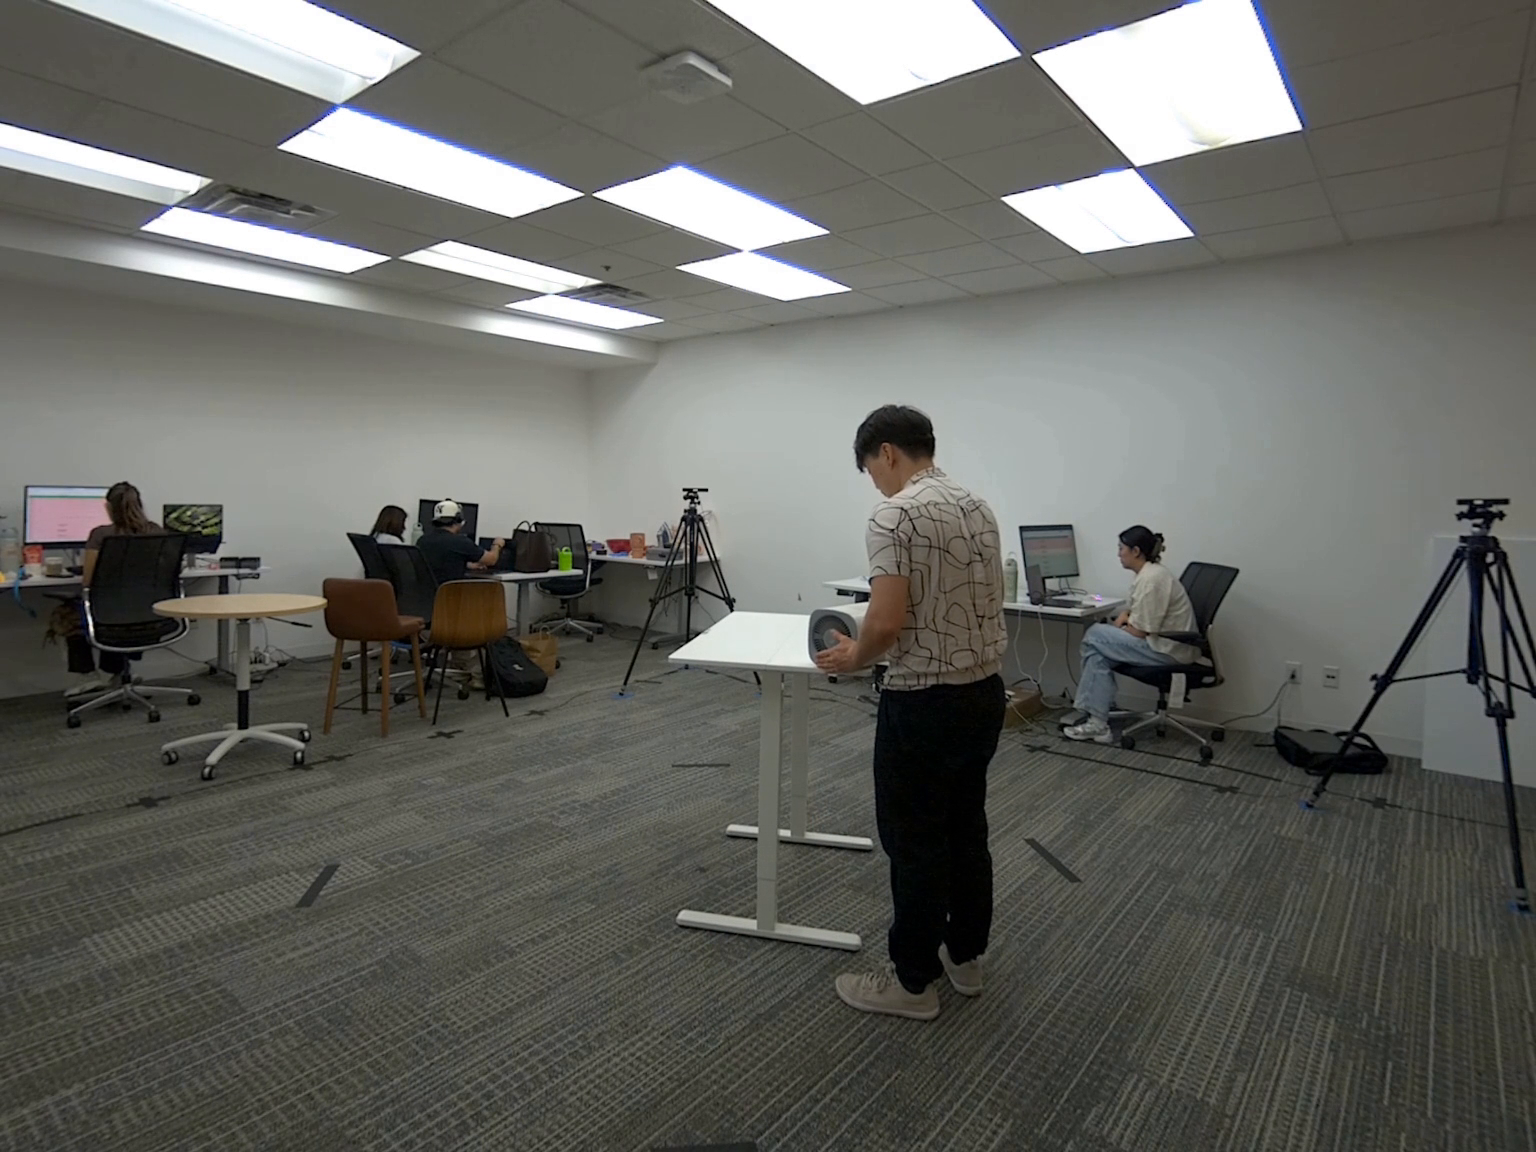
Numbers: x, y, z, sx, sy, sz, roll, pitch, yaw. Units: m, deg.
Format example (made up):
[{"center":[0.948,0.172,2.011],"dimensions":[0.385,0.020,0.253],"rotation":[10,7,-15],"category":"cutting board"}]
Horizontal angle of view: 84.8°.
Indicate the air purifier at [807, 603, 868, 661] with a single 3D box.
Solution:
[{"center":[0.250,0.169,2.520],"dimensions":[0.177,0.170,0.257],"rotation":[5,6,38],"category":"air purifier"}]
